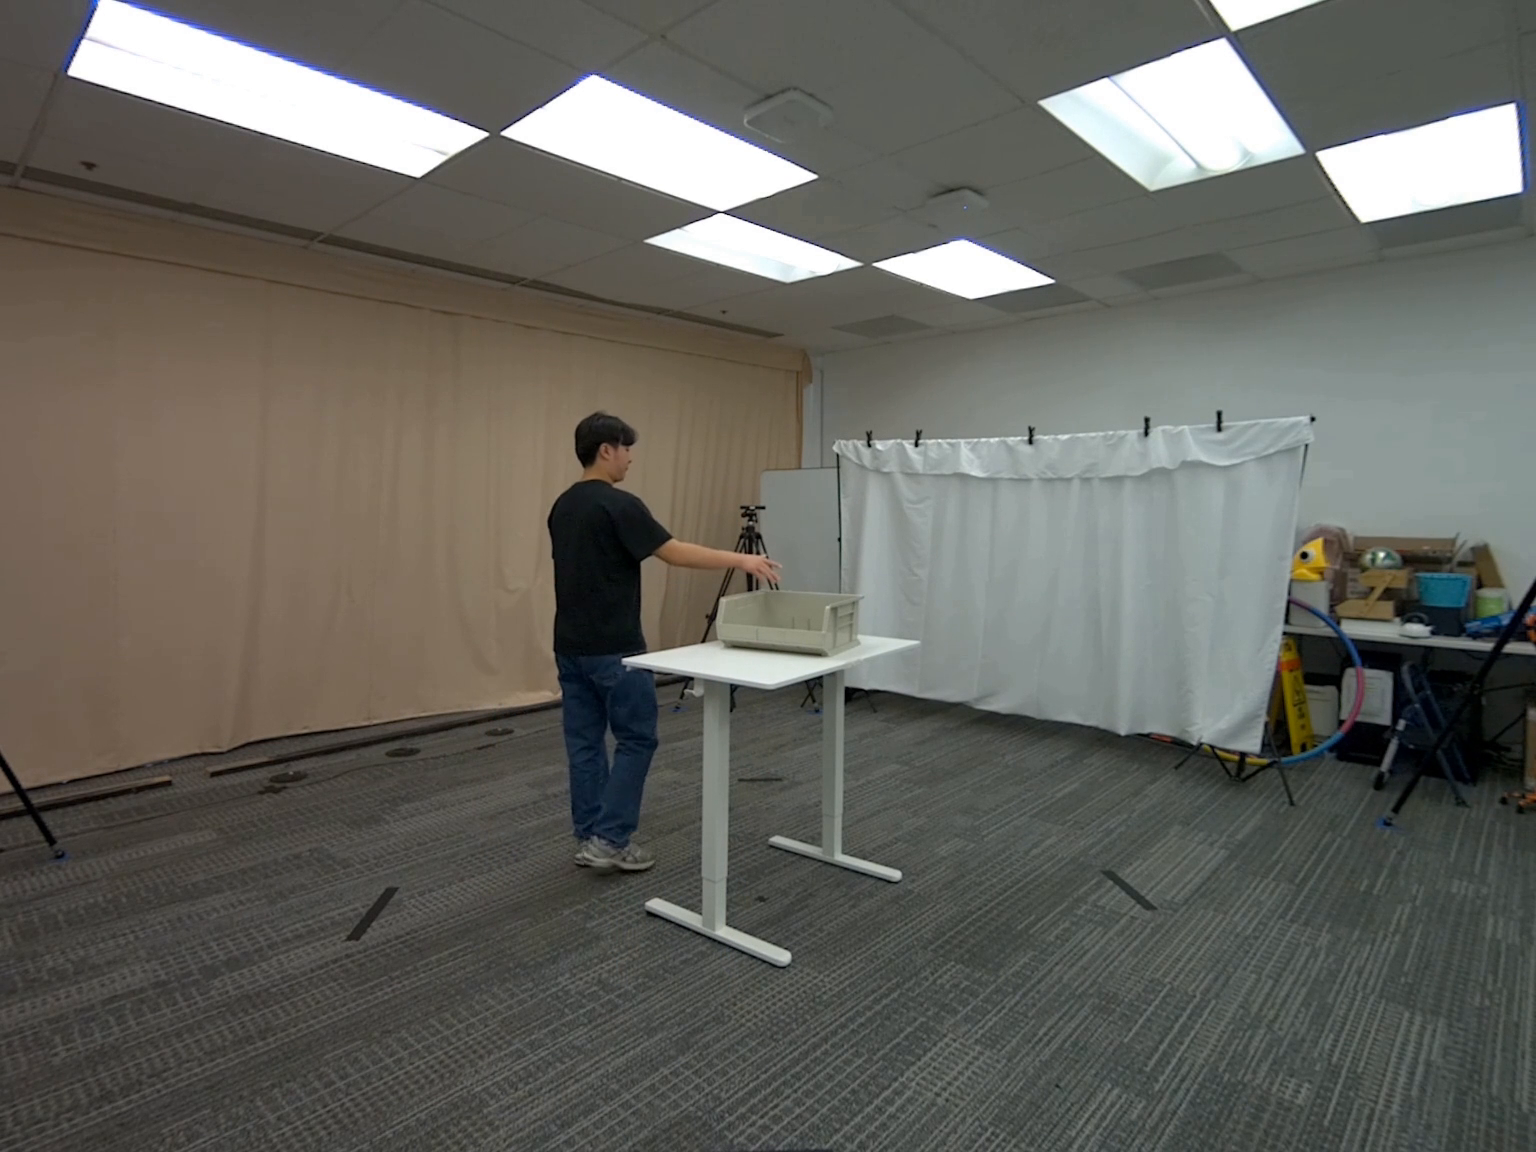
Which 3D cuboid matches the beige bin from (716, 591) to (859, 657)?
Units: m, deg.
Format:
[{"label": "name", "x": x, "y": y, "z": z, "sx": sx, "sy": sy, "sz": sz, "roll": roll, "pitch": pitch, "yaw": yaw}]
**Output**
[{"label": "beige bin", "x": 0.086, "y": 0.170, "z": 3.047, "sx": 0.434, "sy": 0.189, "sz": 0.368, "roll": 2, "pitch": 3, "yaw": 28}]
